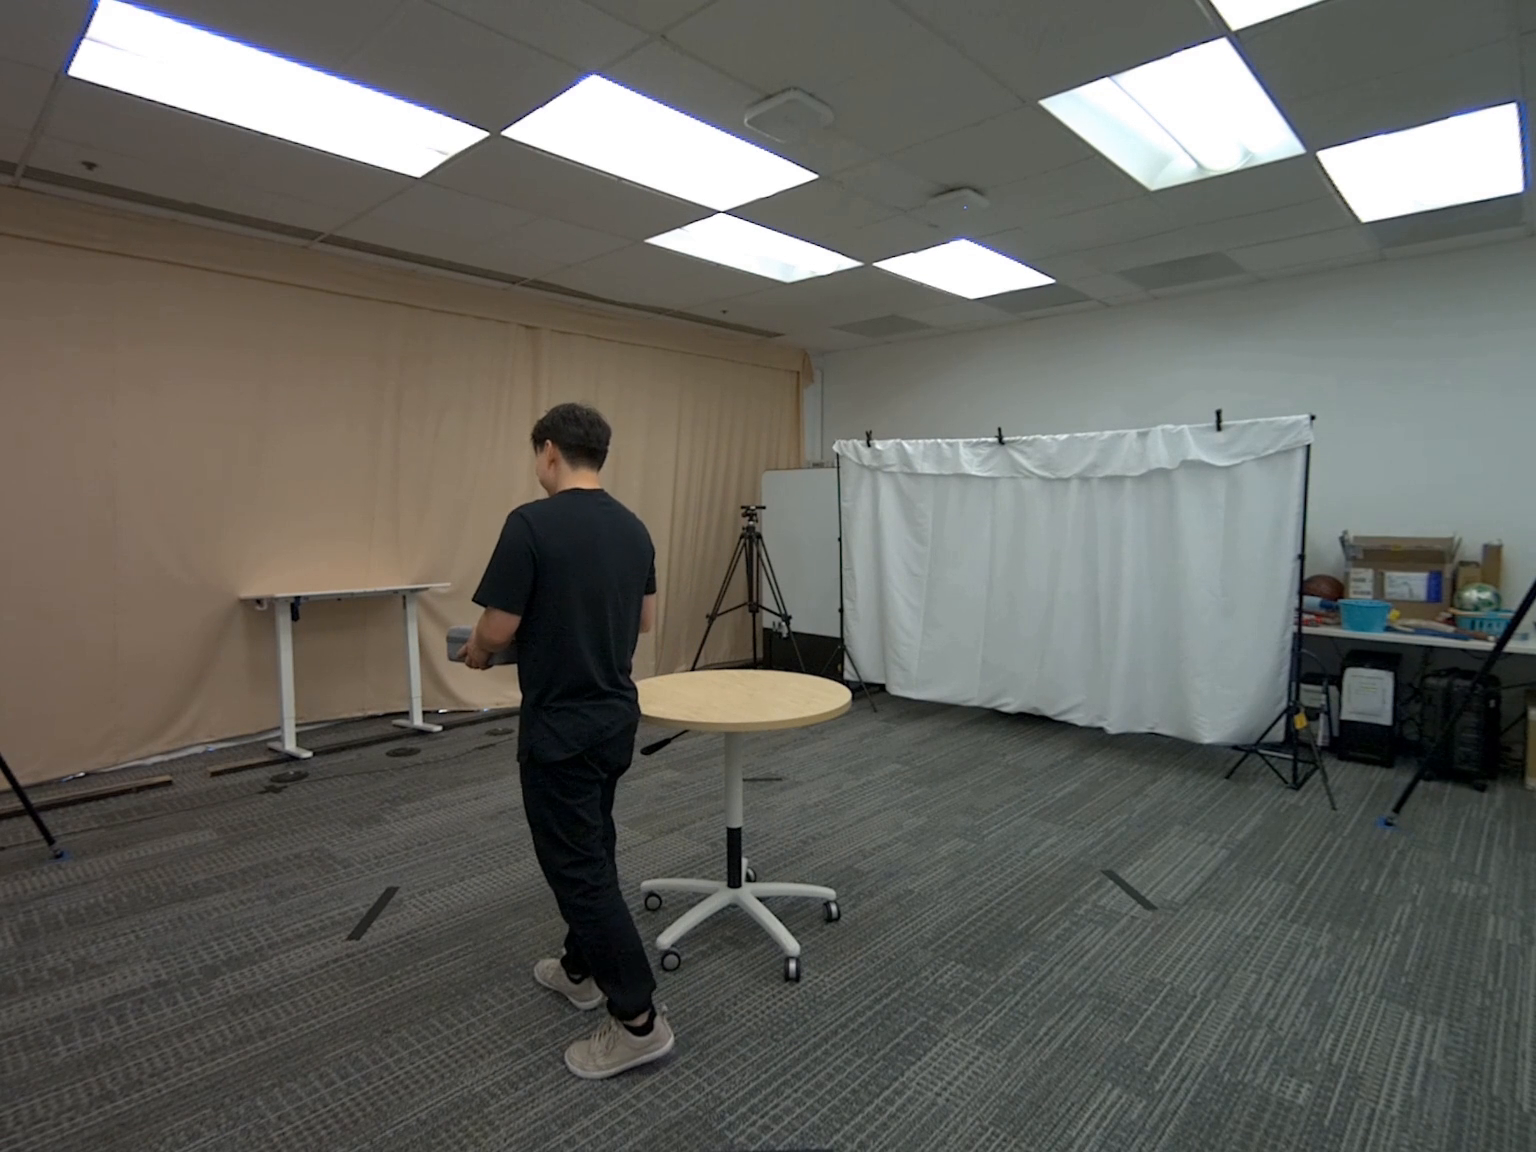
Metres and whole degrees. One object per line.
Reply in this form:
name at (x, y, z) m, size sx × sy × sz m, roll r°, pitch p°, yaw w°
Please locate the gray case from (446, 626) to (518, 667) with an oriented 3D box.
gray case at (-0.773, 0.199, 2.427) m, size 0.268 × 0.104 × 0.249 m, roll 0°, pitch 0°, yaw 32°
